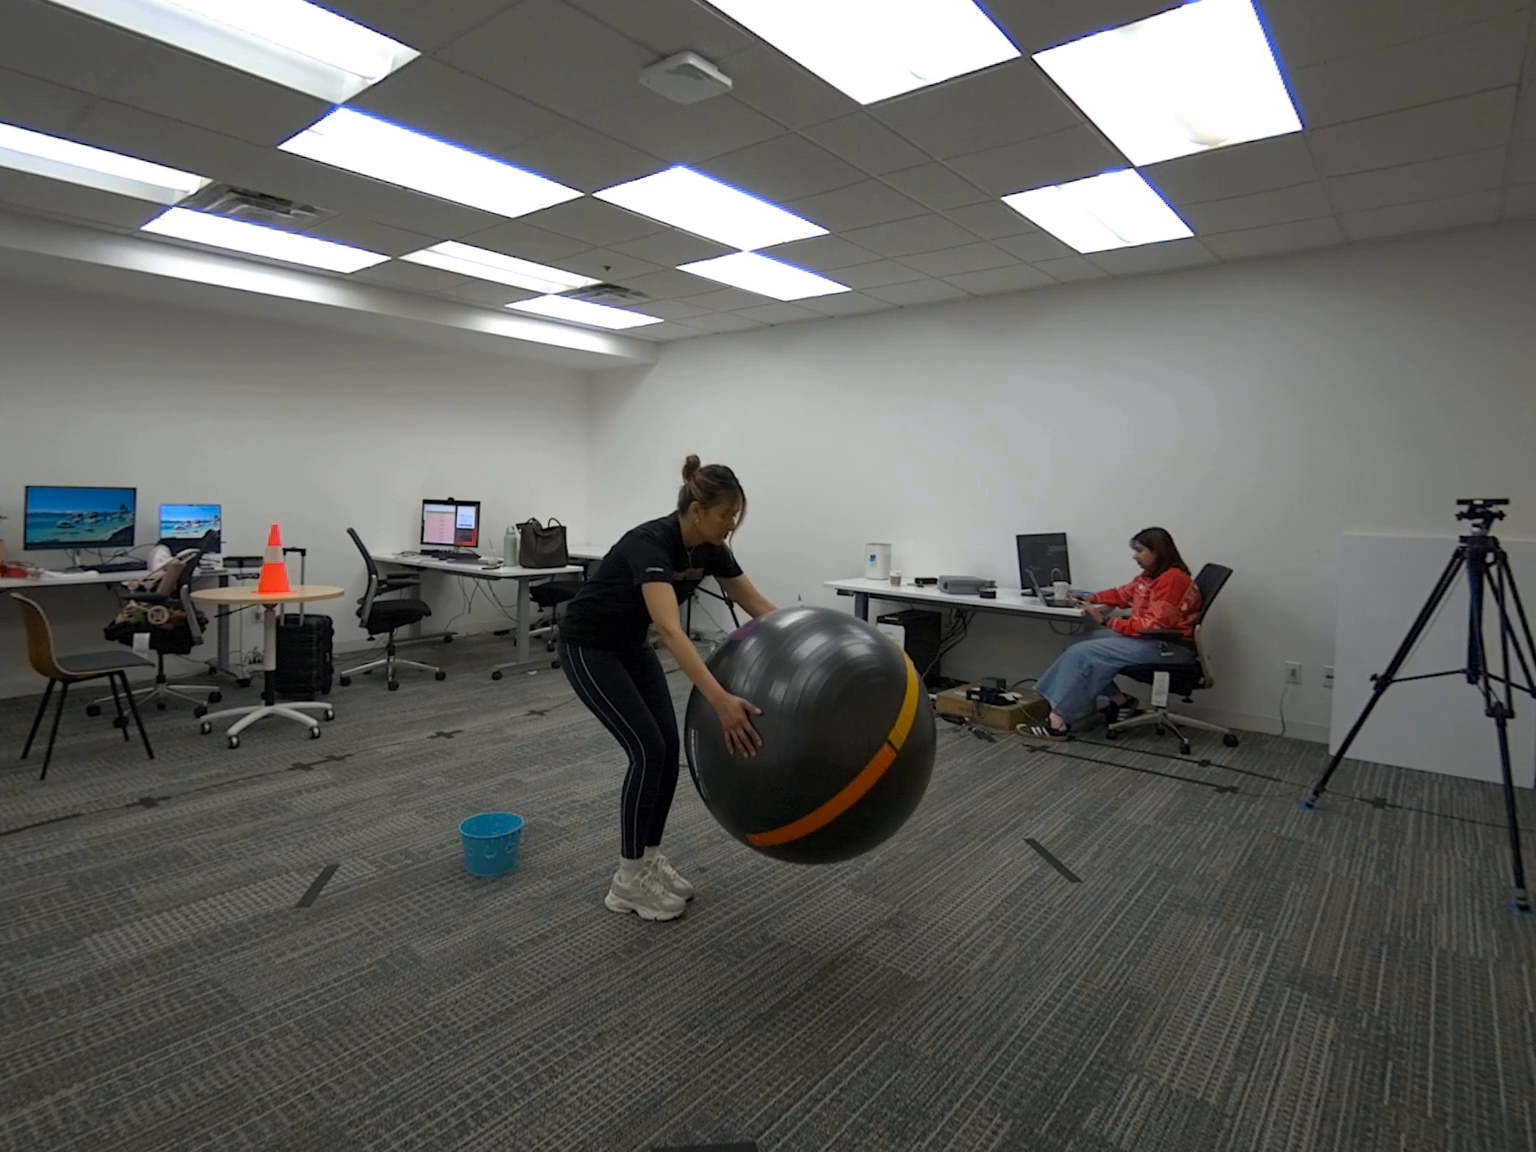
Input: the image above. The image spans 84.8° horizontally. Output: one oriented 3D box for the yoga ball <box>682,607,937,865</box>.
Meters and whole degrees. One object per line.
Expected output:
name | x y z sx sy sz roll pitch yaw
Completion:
yoga ball | 0.115 0.472 2.584 0.757 0.756 0.762 1 4 -2
